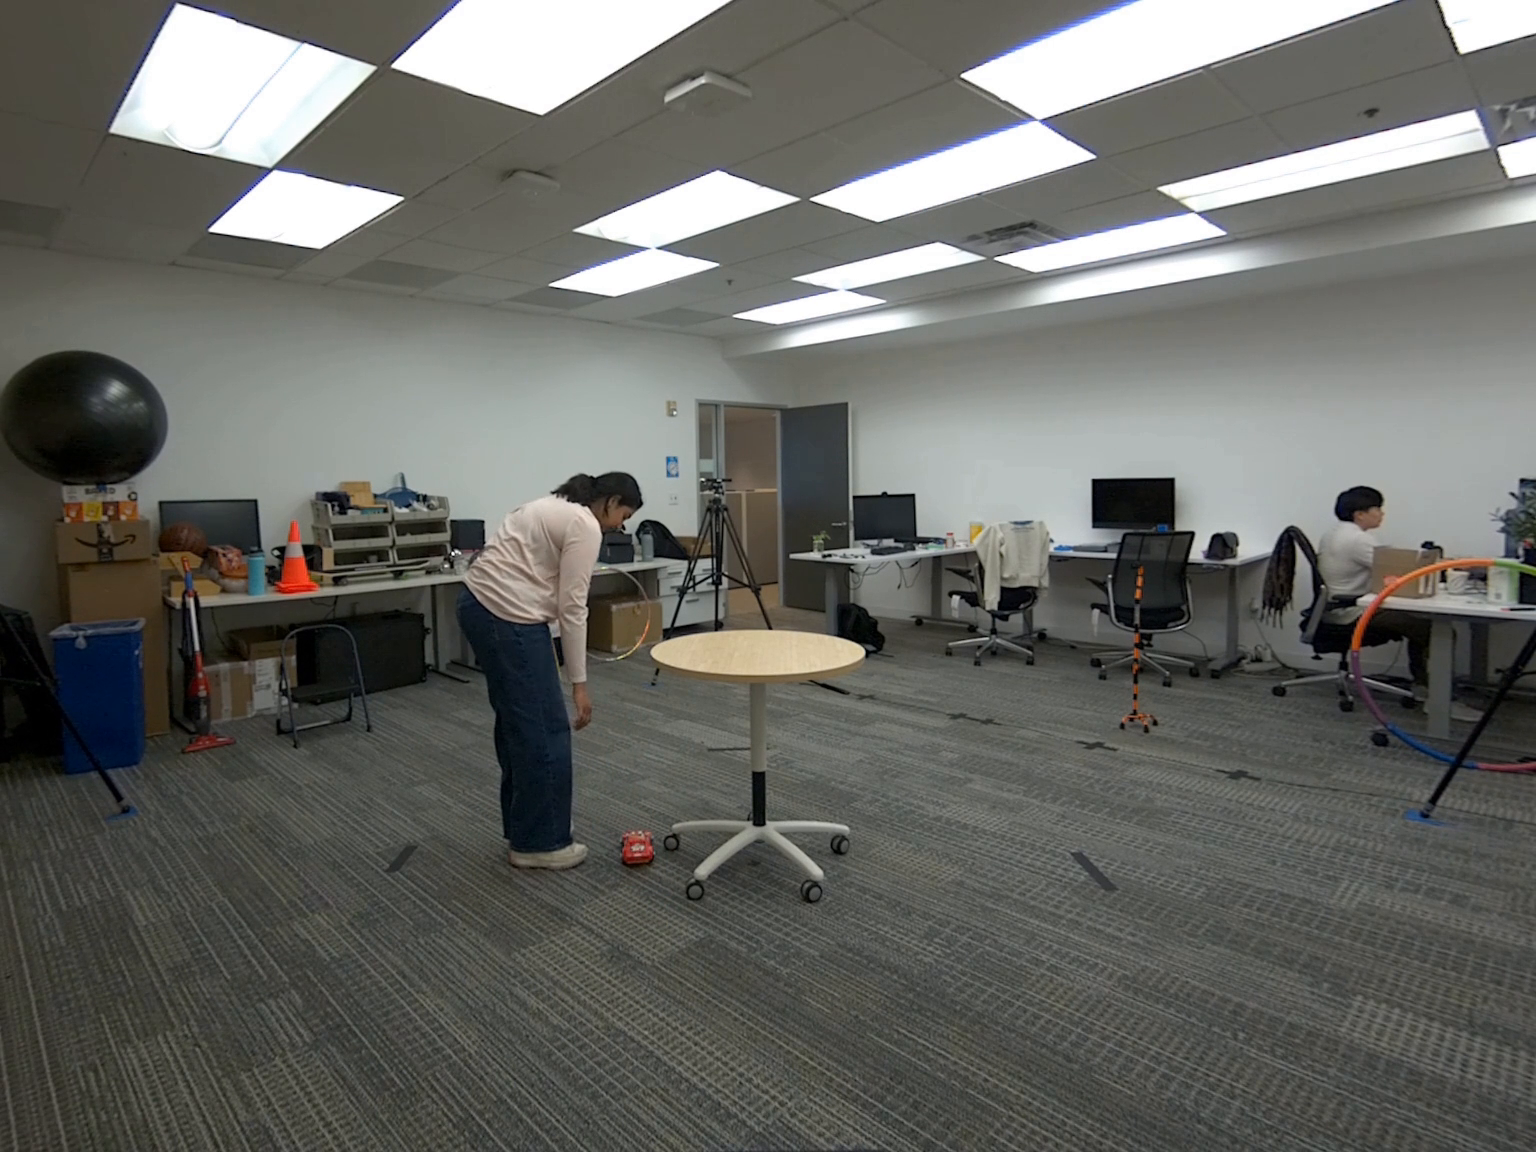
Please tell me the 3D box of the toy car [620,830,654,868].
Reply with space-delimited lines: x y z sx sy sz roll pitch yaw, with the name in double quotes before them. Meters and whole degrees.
"toy car" -0.473 0.997 3.161 0.129 0.084 0.255 -3 -5 -11
